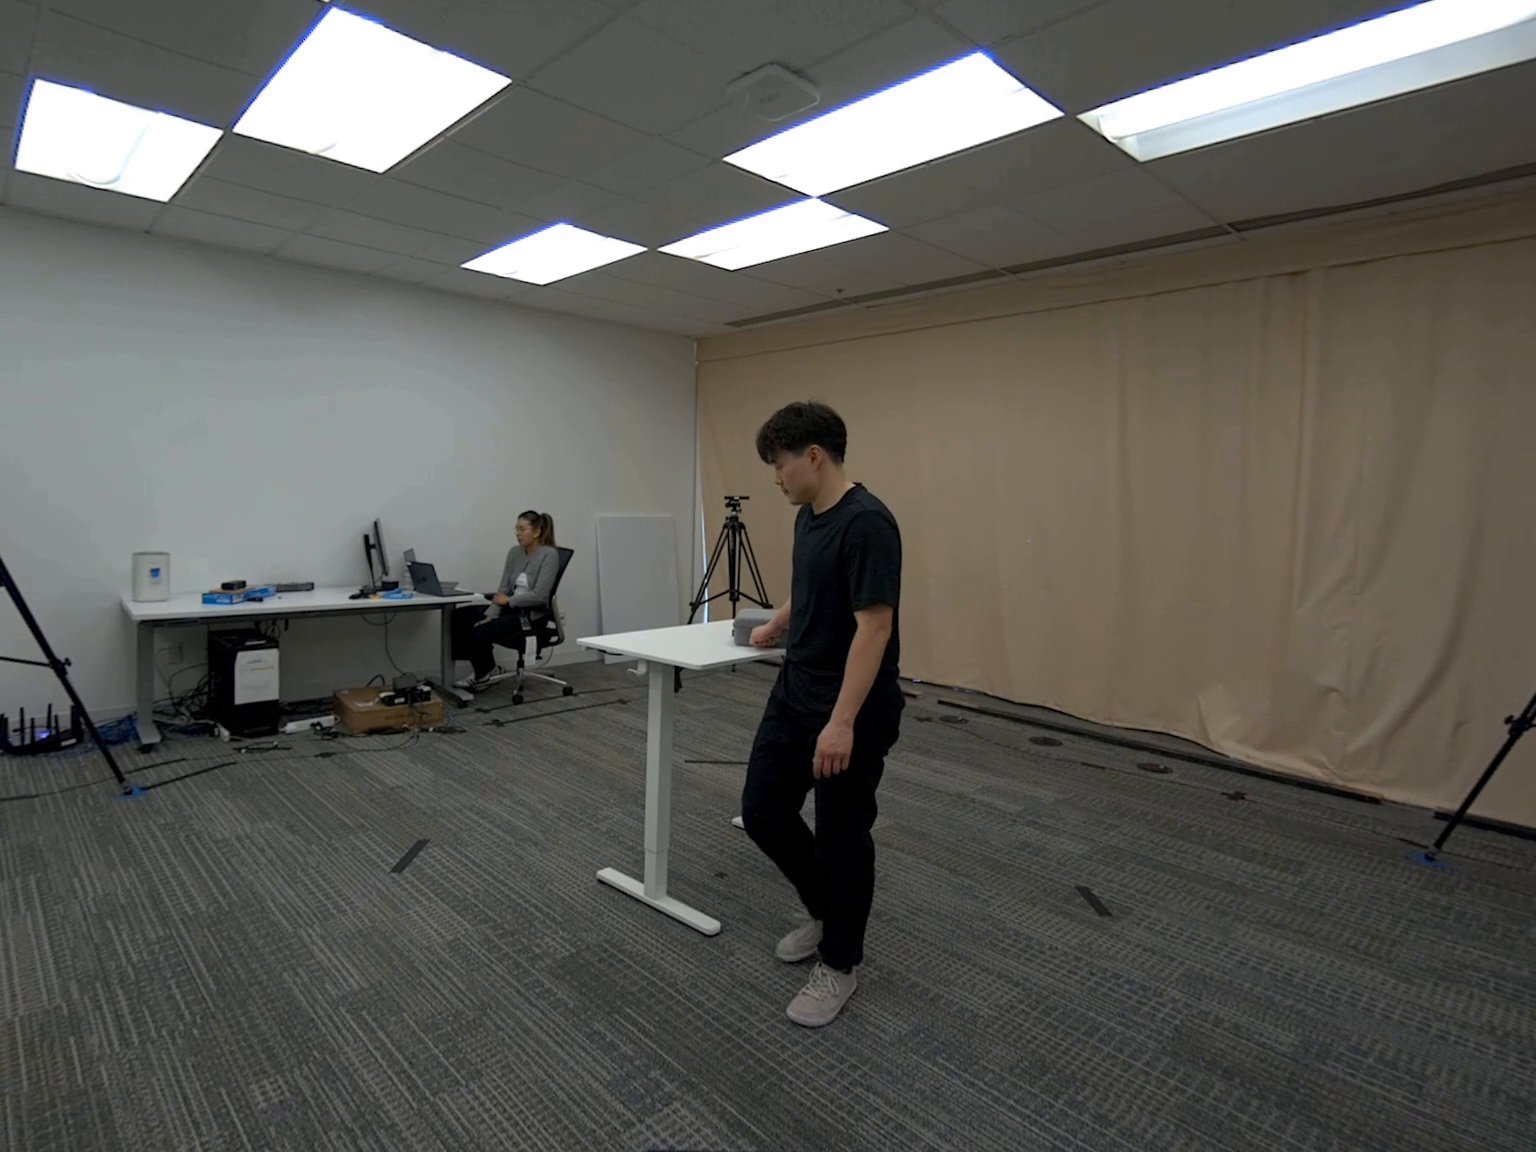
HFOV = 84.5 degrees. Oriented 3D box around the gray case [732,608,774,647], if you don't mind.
[{"bbox_3d":[0.008,0.184,2.989,0.258,0.104,0.260,3,6,6],"label":"gray case"}]
